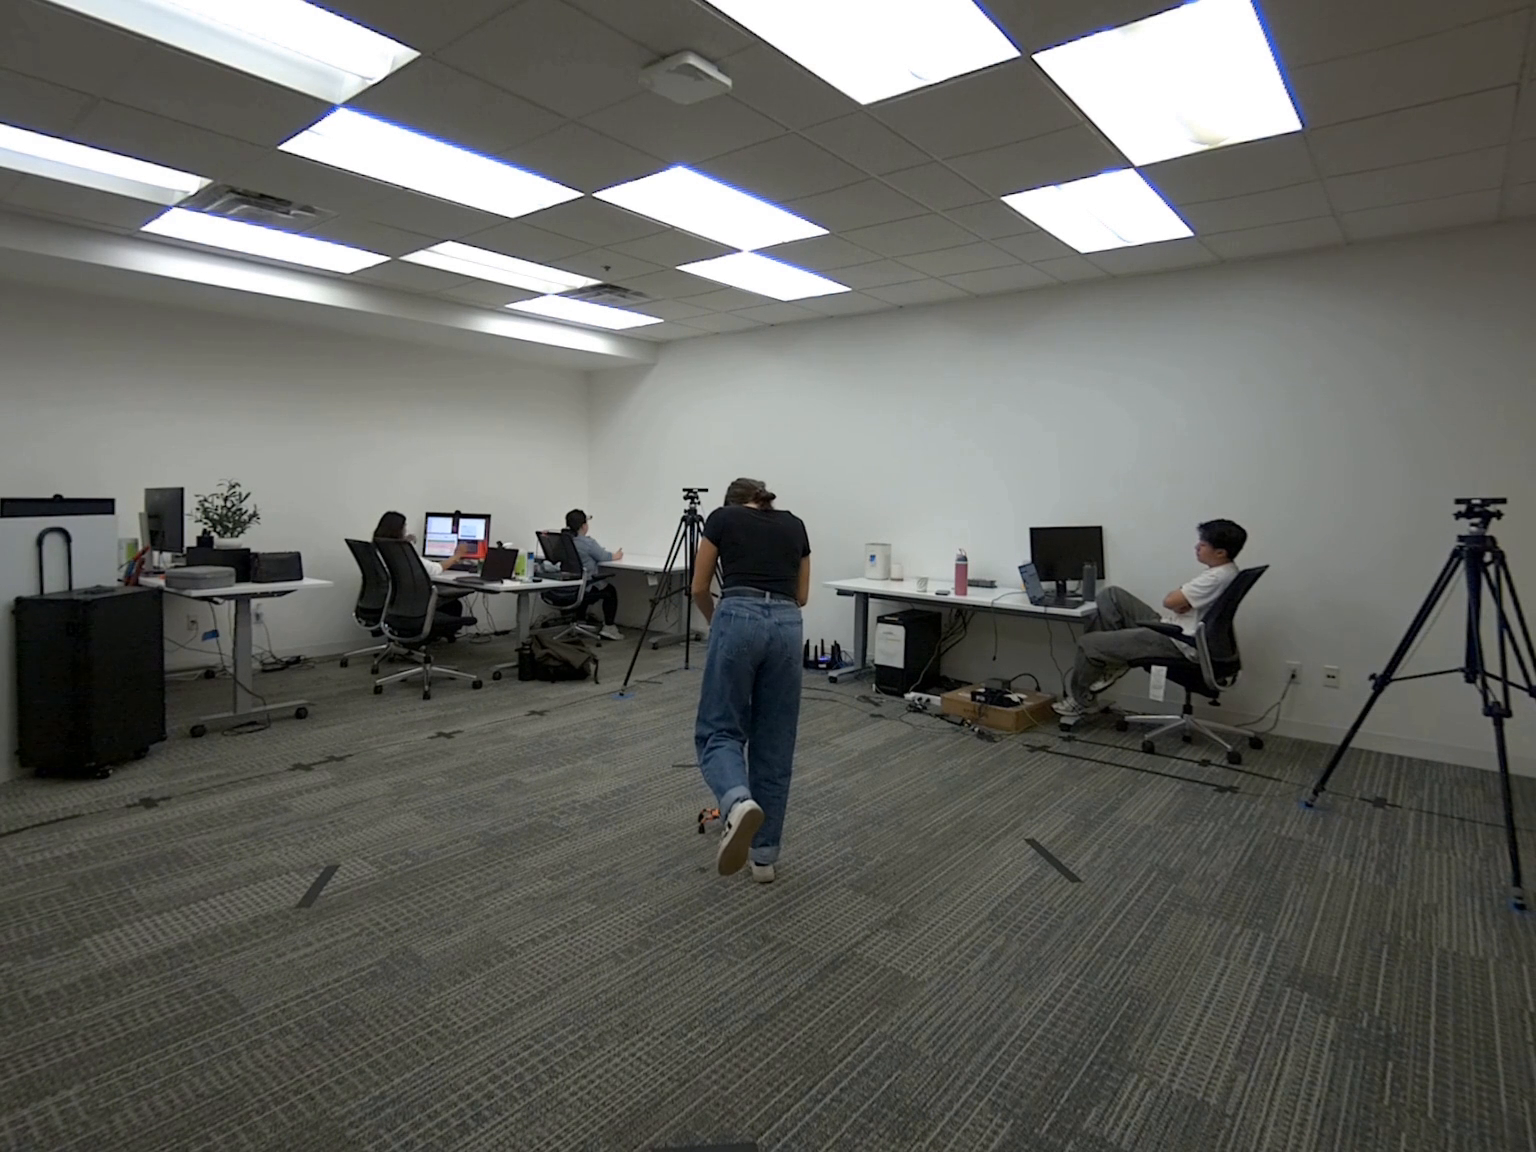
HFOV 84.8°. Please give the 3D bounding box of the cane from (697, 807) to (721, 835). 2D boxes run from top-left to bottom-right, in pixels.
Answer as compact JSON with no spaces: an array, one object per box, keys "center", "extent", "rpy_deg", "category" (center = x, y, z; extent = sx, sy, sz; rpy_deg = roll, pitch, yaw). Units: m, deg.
[{"center":[-0.171,0.565,3.499],"extent":[0.206,0.906,0.152],"rpy_deg":[0,2,-4],"category":"cane"}]
